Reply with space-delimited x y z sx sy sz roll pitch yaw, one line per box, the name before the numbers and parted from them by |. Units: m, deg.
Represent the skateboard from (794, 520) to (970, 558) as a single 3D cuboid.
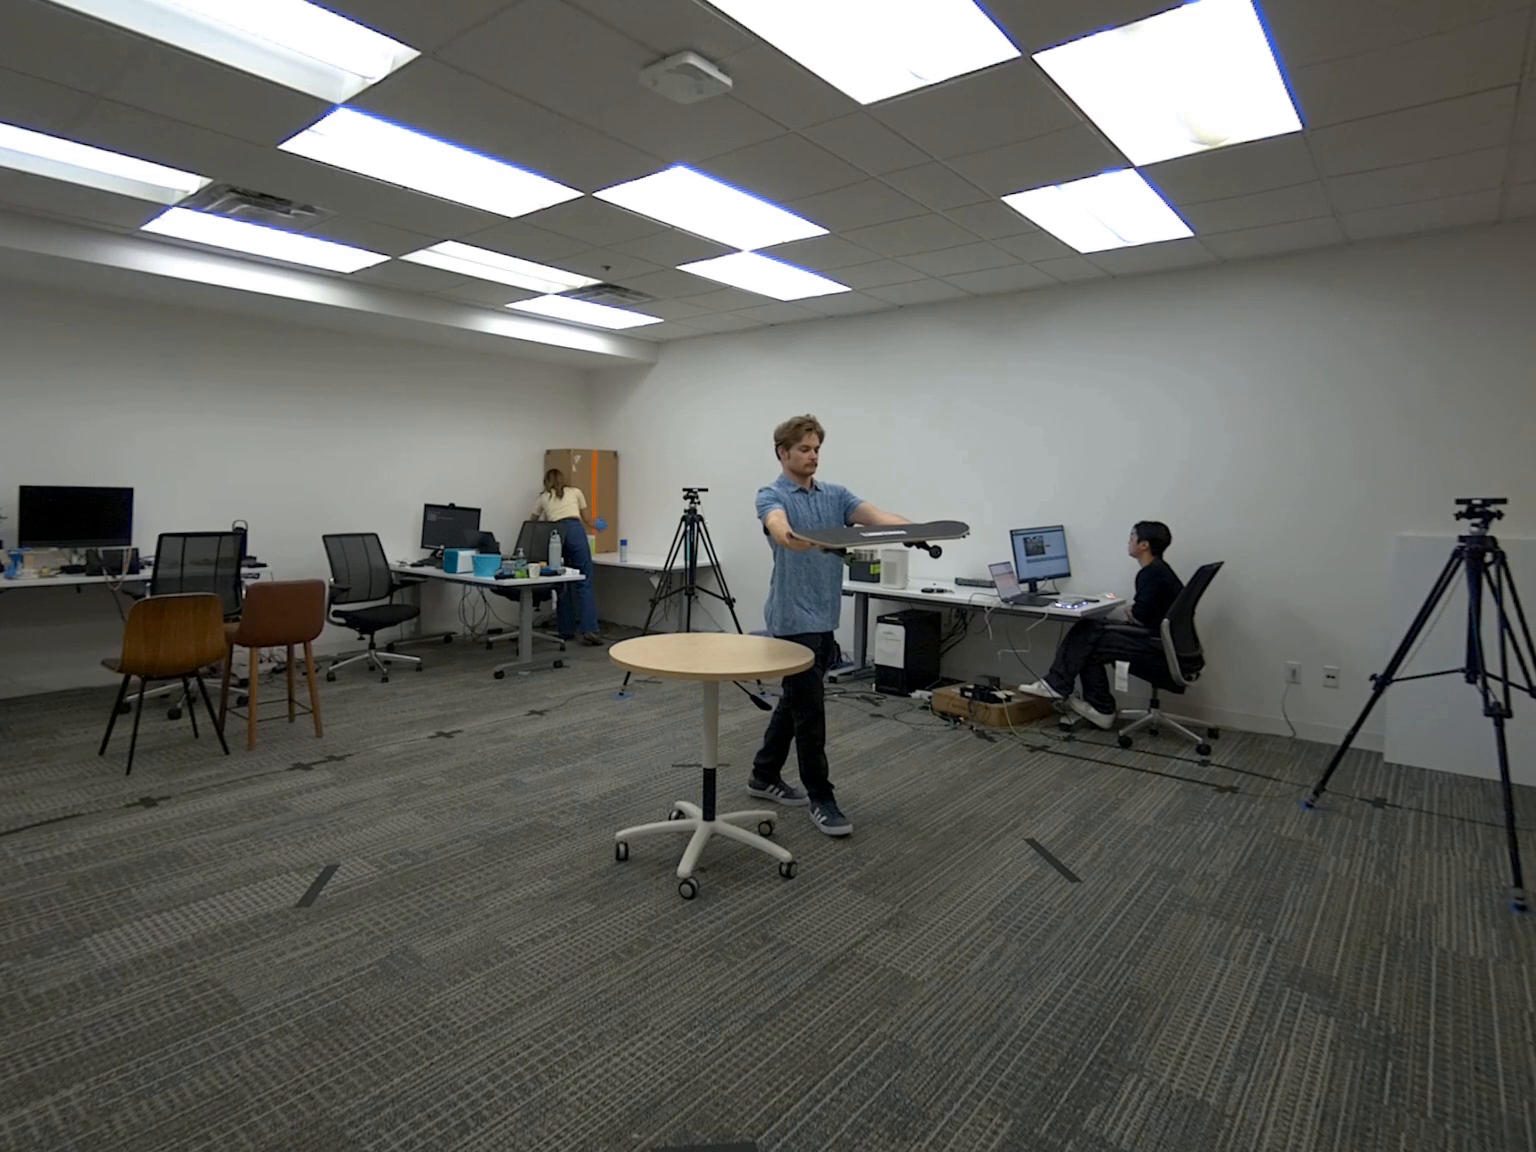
skateboard | 0.438 -0.133 3.173 0.766 0.109 0.201 -5 21 -28
